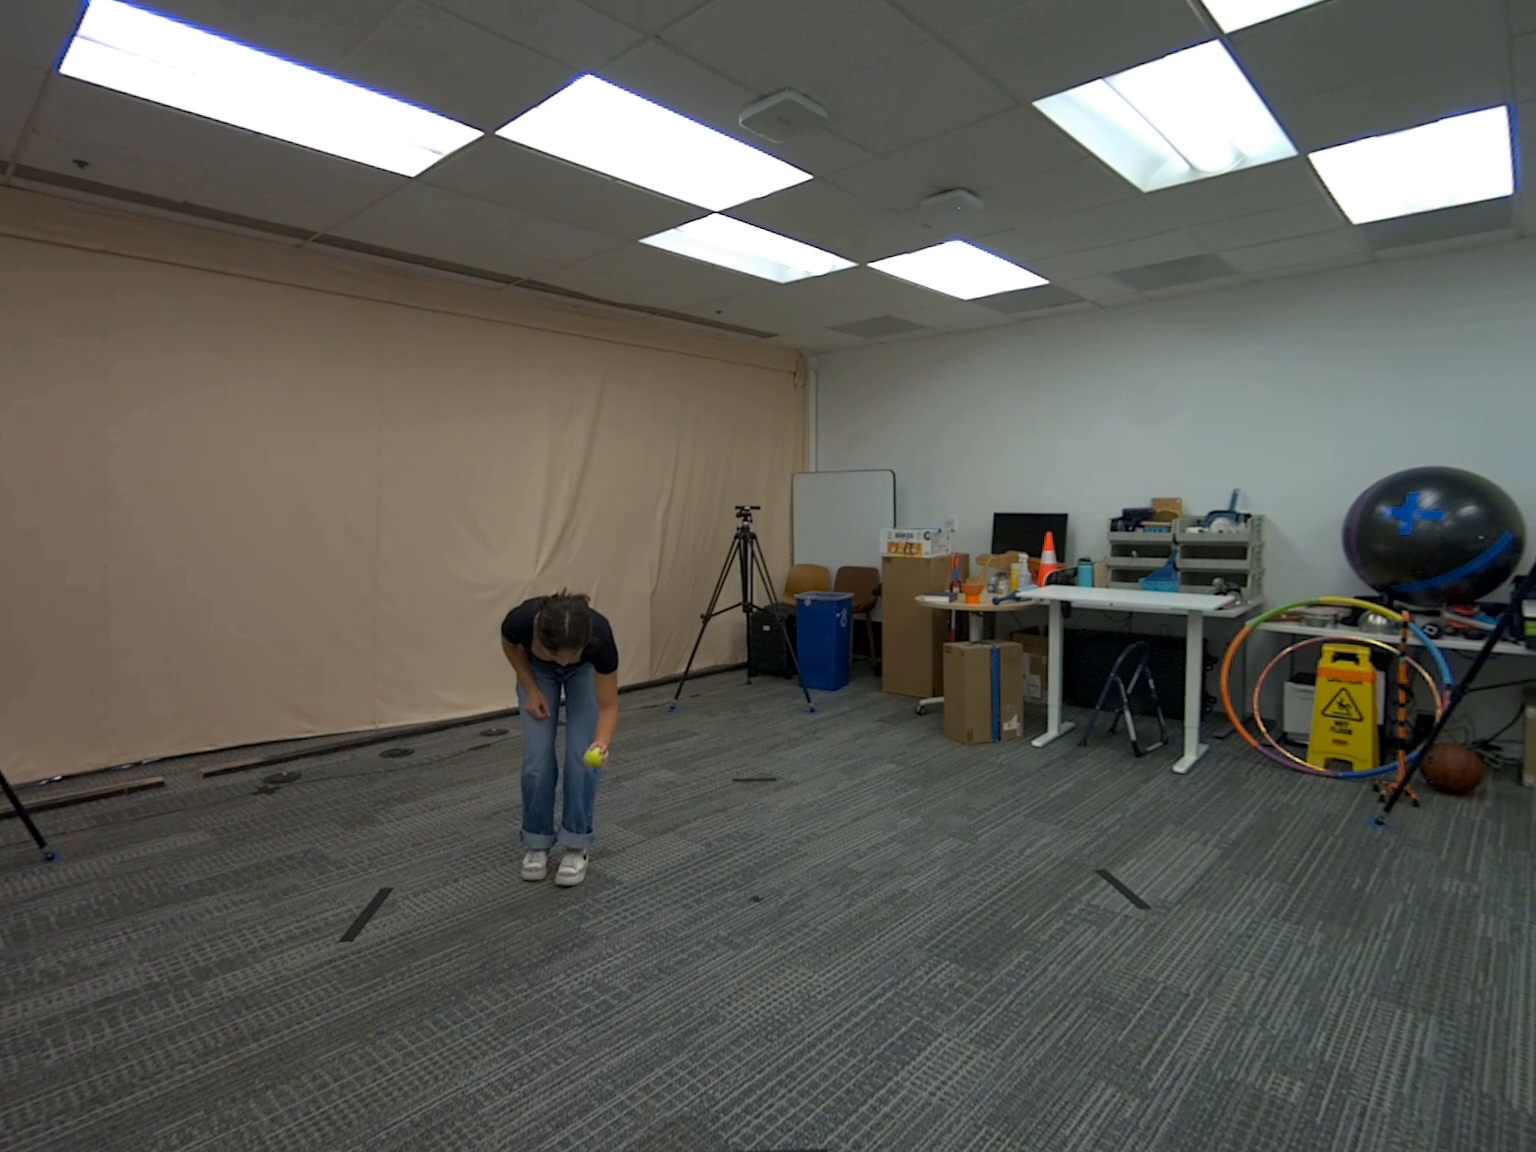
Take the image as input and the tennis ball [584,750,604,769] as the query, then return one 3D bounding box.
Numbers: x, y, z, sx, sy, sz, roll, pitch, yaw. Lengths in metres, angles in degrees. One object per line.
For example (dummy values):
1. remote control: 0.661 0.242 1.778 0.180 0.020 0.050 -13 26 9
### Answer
1. tennis ball: -0.578 0.650 2.822 0.066 0.066 0.067 0 4 -2
